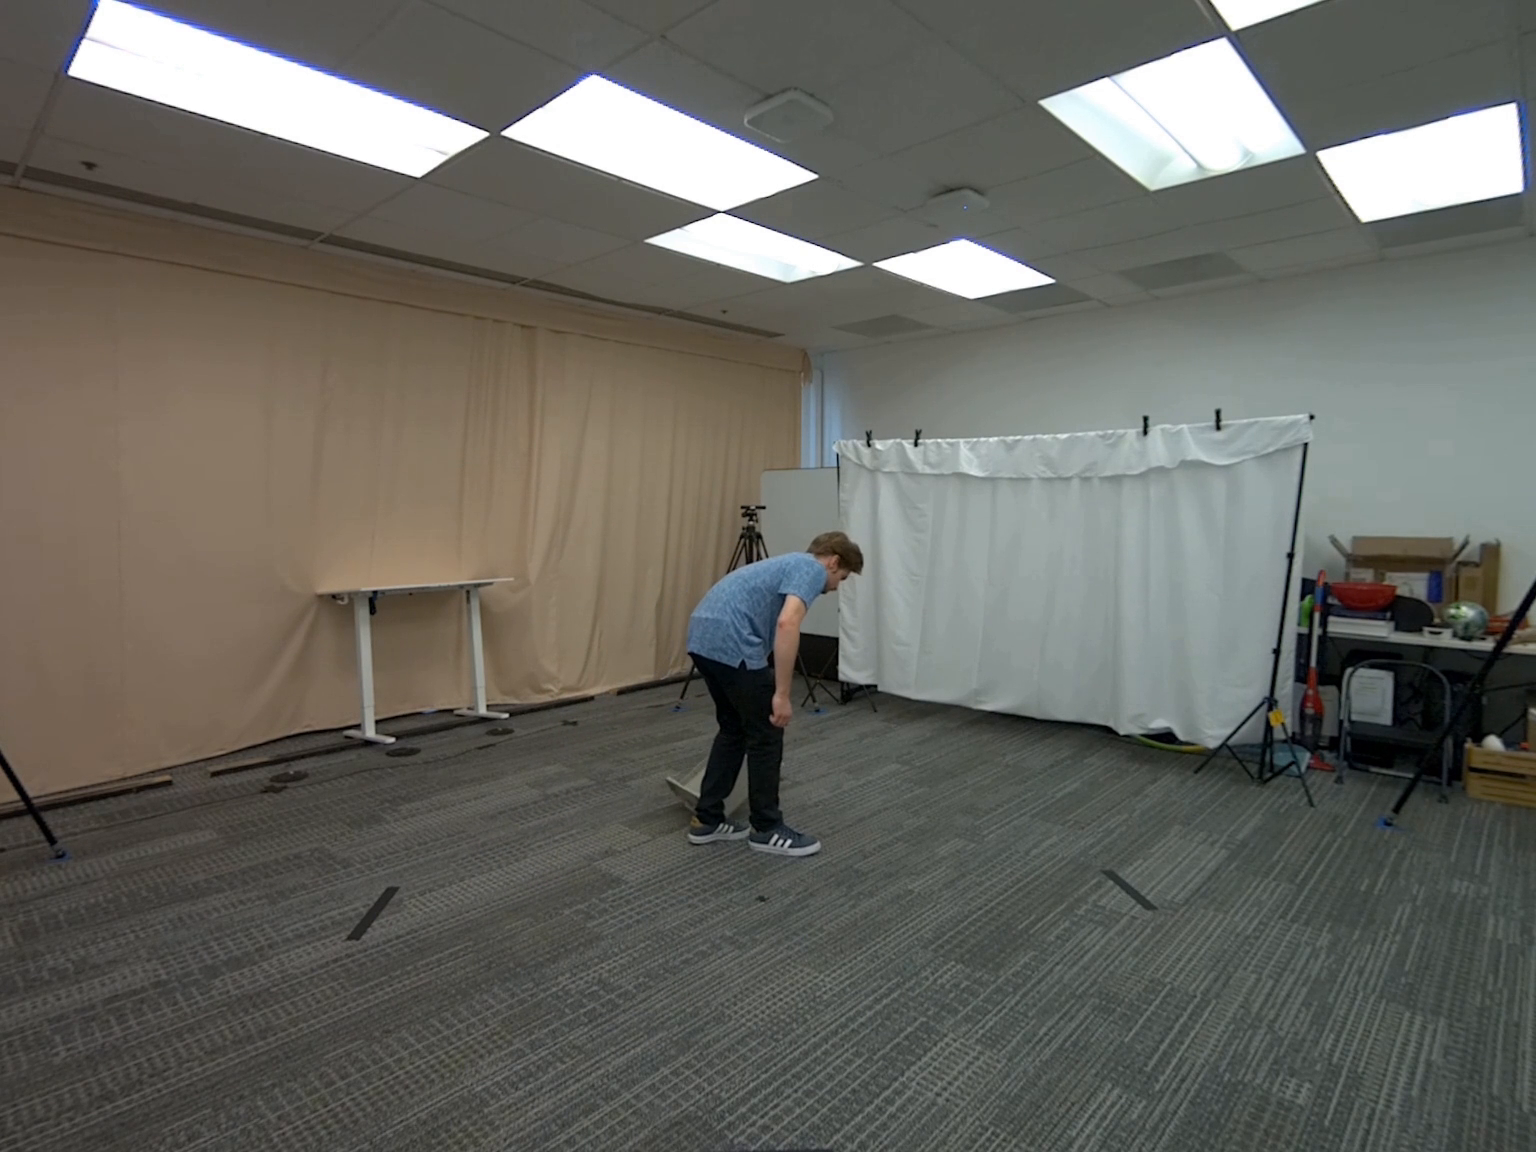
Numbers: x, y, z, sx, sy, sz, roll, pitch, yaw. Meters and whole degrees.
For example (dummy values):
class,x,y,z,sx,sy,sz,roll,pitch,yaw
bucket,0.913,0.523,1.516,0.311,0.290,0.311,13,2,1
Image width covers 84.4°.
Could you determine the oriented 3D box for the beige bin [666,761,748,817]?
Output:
class,x,y,z,sx,sy,sz,roll,pitch,yaw
beige bin,-0.212,0.885,3.857,0.418,0.185,0.389,-38,24,-25
